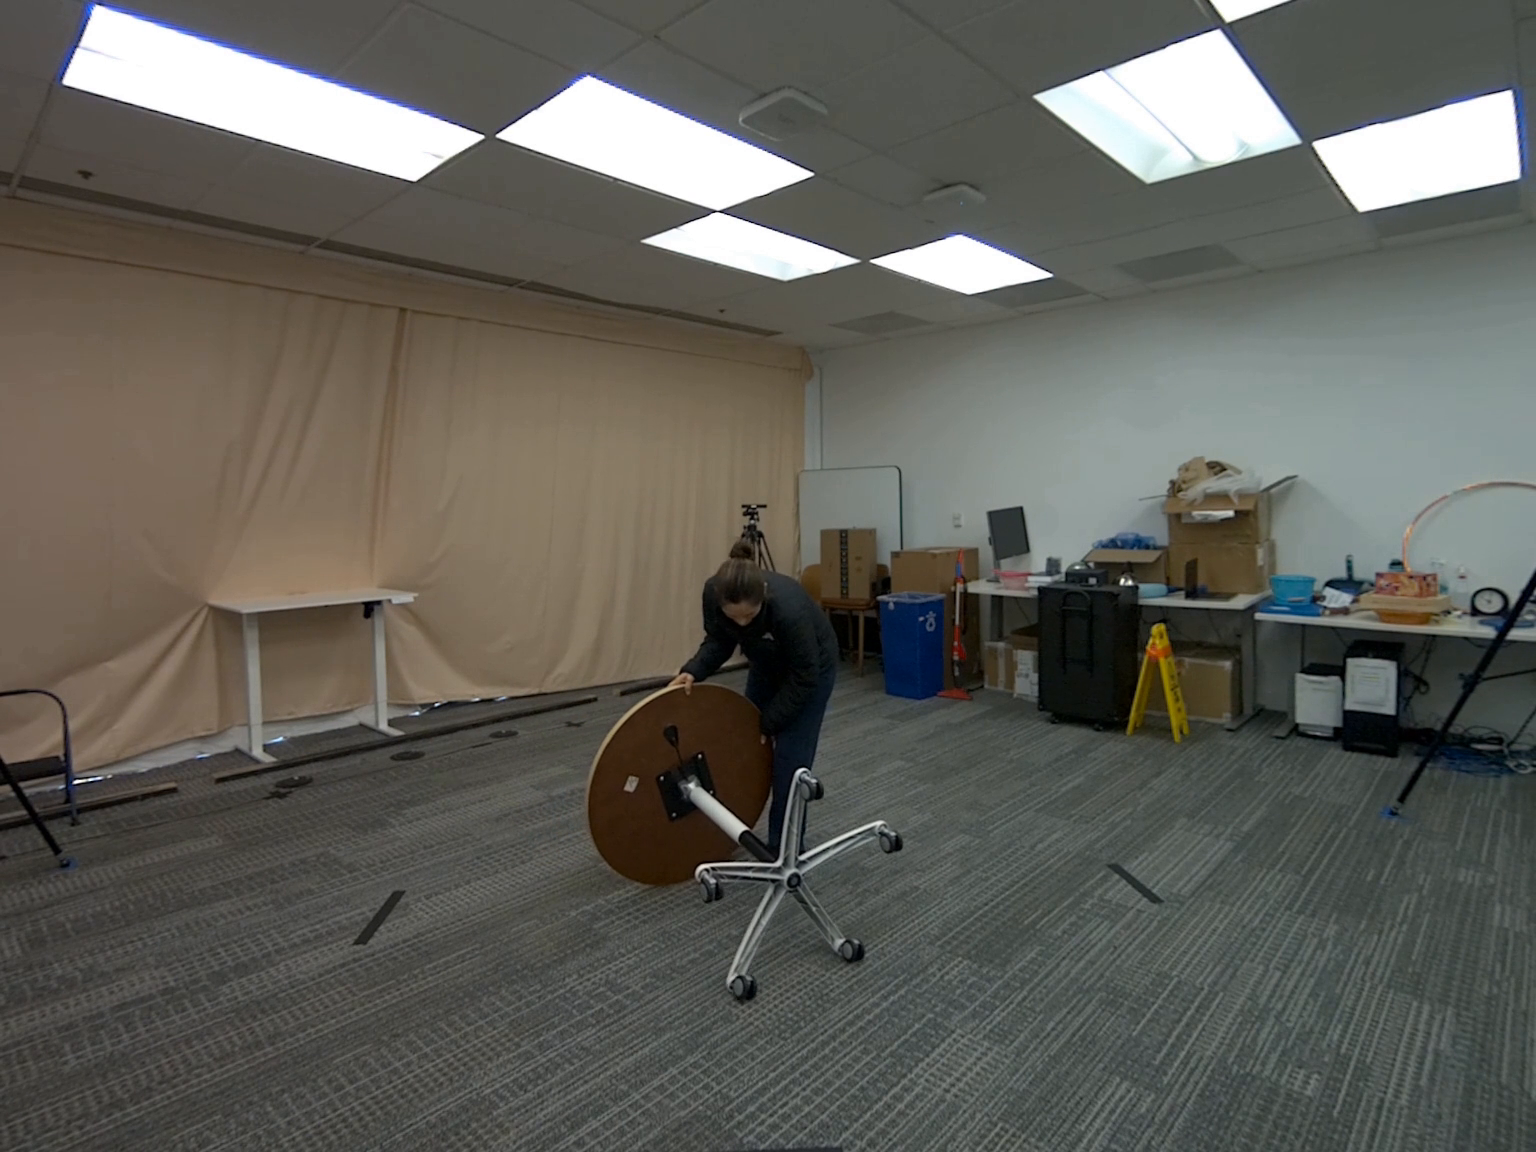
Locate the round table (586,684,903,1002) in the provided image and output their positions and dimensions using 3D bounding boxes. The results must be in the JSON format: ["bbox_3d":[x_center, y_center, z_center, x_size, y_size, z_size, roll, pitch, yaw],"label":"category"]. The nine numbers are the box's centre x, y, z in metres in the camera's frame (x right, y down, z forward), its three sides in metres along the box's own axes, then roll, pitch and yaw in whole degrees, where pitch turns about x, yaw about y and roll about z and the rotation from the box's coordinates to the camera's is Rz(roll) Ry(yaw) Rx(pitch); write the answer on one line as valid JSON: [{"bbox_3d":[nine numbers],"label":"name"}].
[{"bbox_3d":[-0.081,0.827,2.749,0.763,0.781,0.813,-3,12,-34],"label":"round table"}]
